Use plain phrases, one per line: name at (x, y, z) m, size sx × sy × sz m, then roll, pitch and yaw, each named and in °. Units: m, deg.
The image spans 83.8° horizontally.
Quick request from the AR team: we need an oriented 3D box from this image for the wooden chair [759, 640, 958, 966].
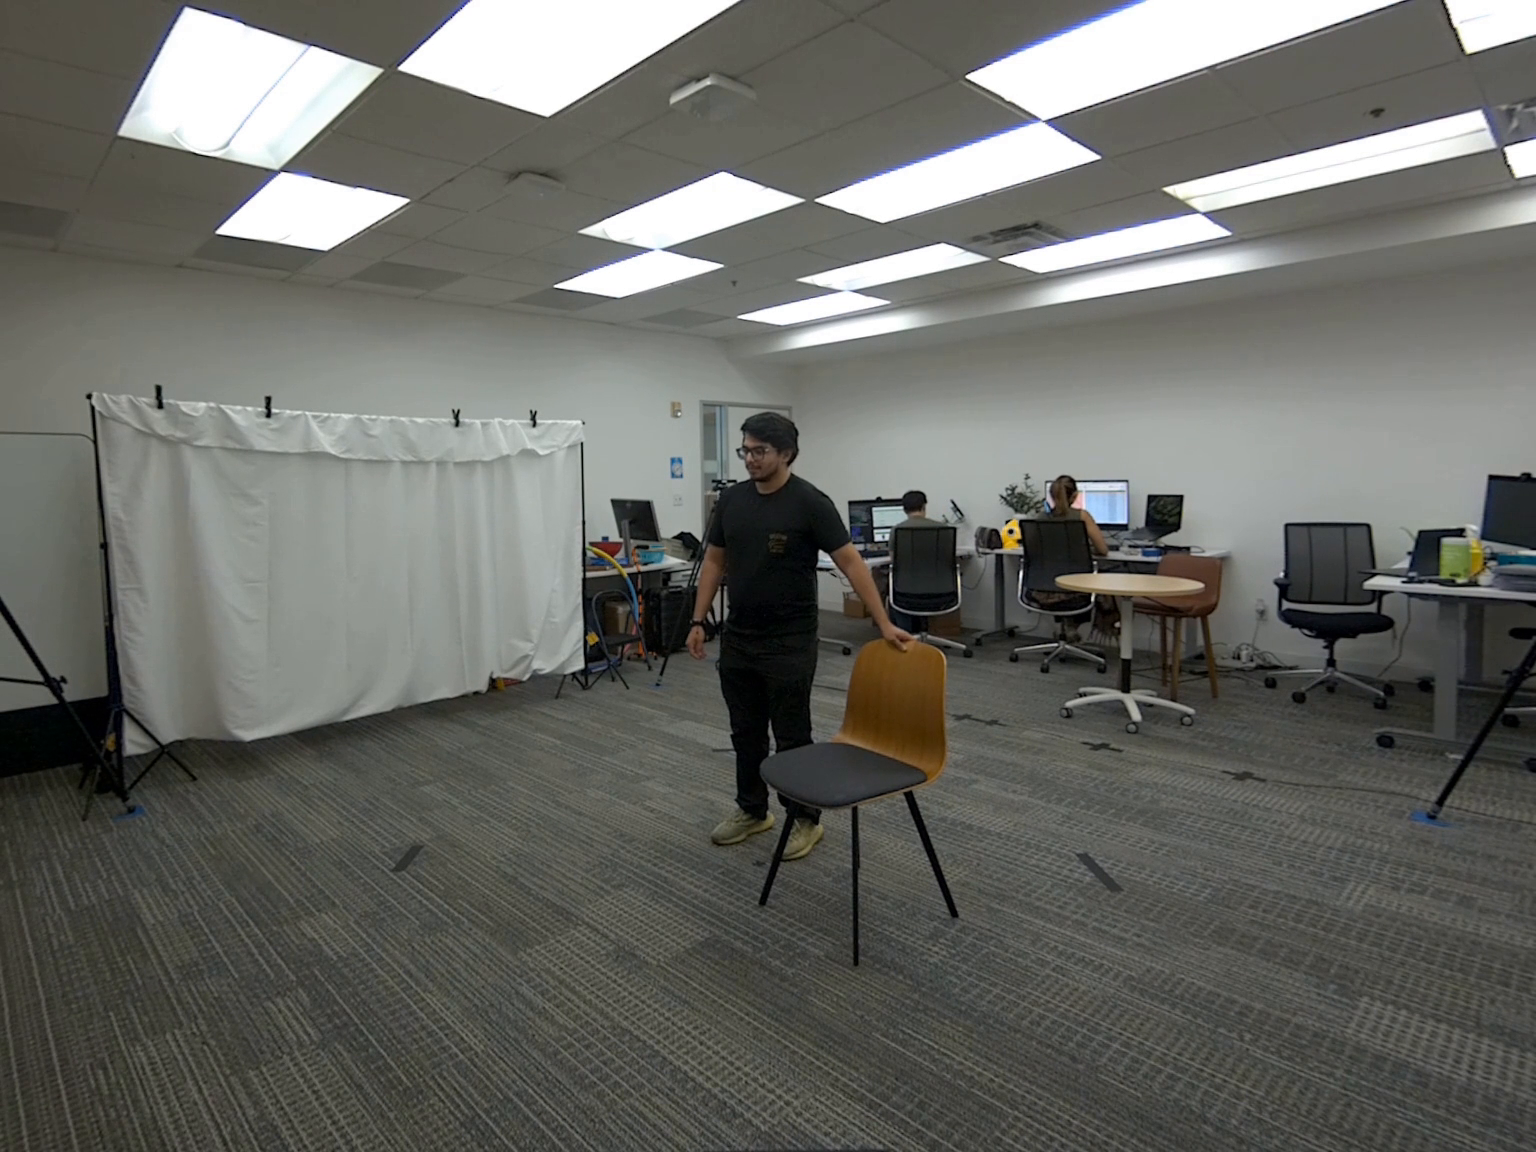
wooden chair at (0.278, 0.660, 2.716) m, size 0.508 × 0.876 × 0.492 m, roll 1°, pitch 2°, yaw -37°
